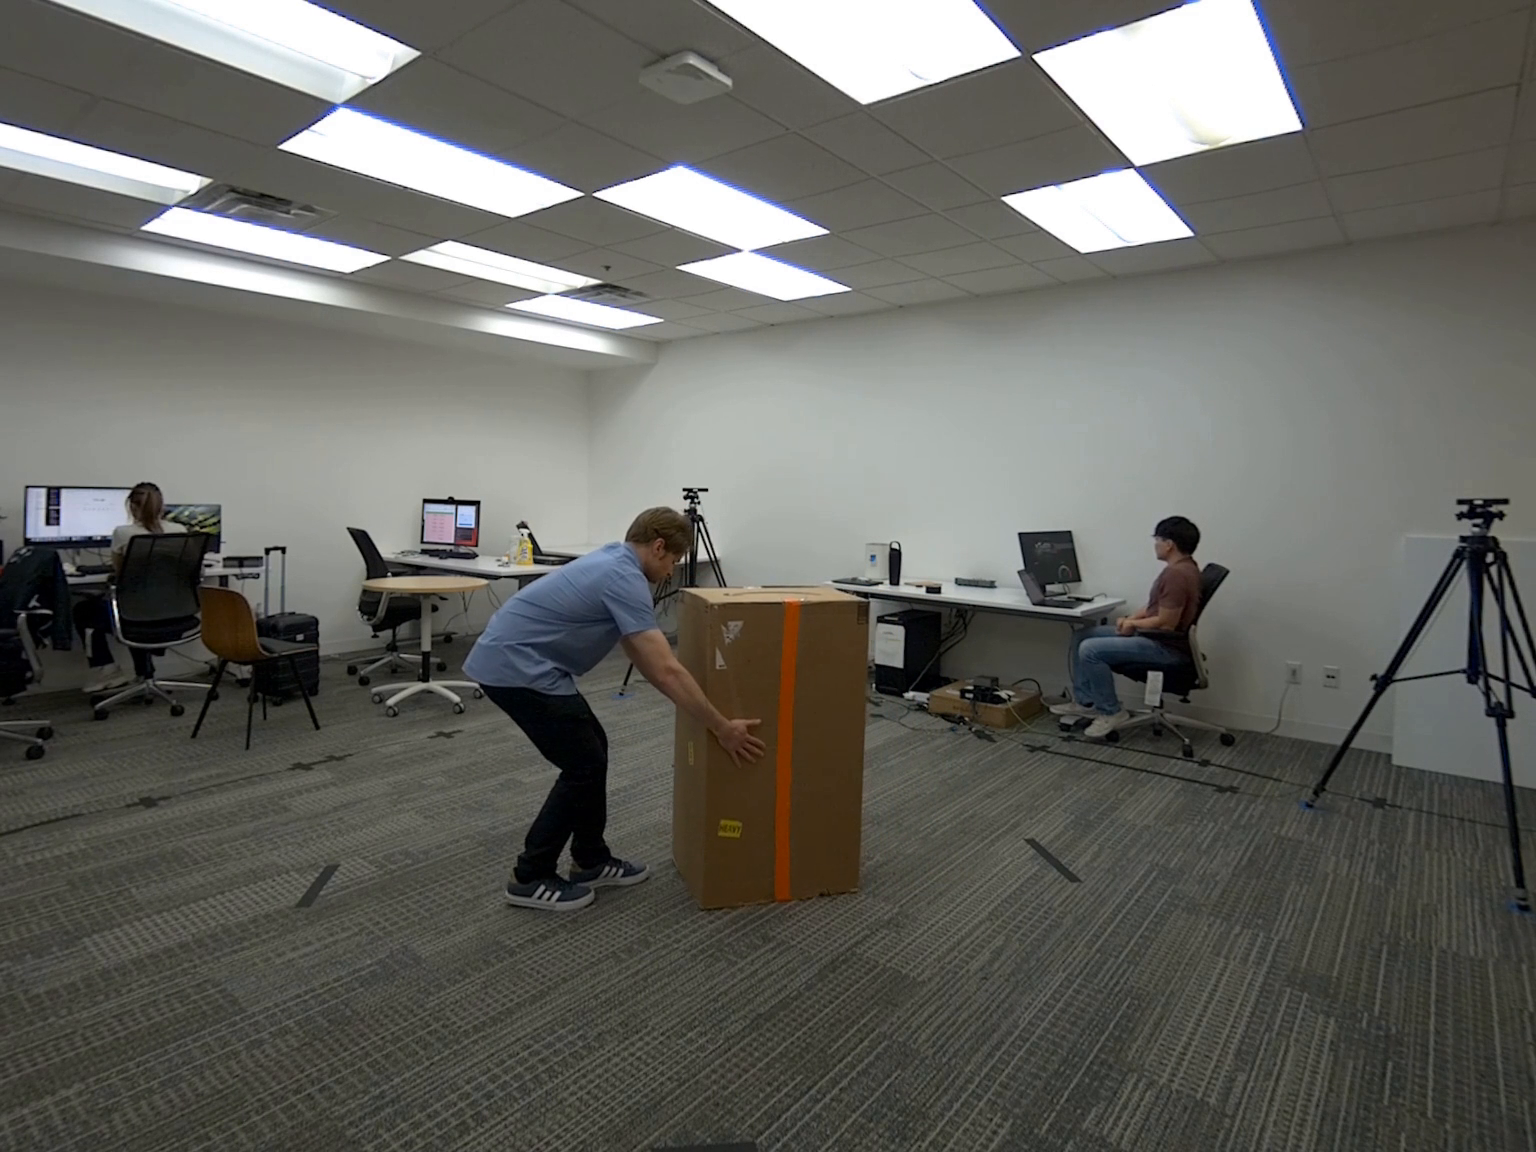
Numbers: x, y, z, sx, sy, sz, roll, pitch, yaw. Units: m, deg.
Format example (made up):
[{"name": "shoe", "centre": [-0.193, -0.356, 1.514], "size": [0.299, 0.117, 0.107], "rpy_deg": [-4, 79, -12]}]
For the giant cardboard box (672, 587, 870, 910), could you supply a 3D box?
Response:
[{"name": "giant cardboard box", "centre": [-0.014, 0.573, 3.049], "size": [0.567, 1.023, 0.435], "rpy_deg": [0, 3, -18]}]
